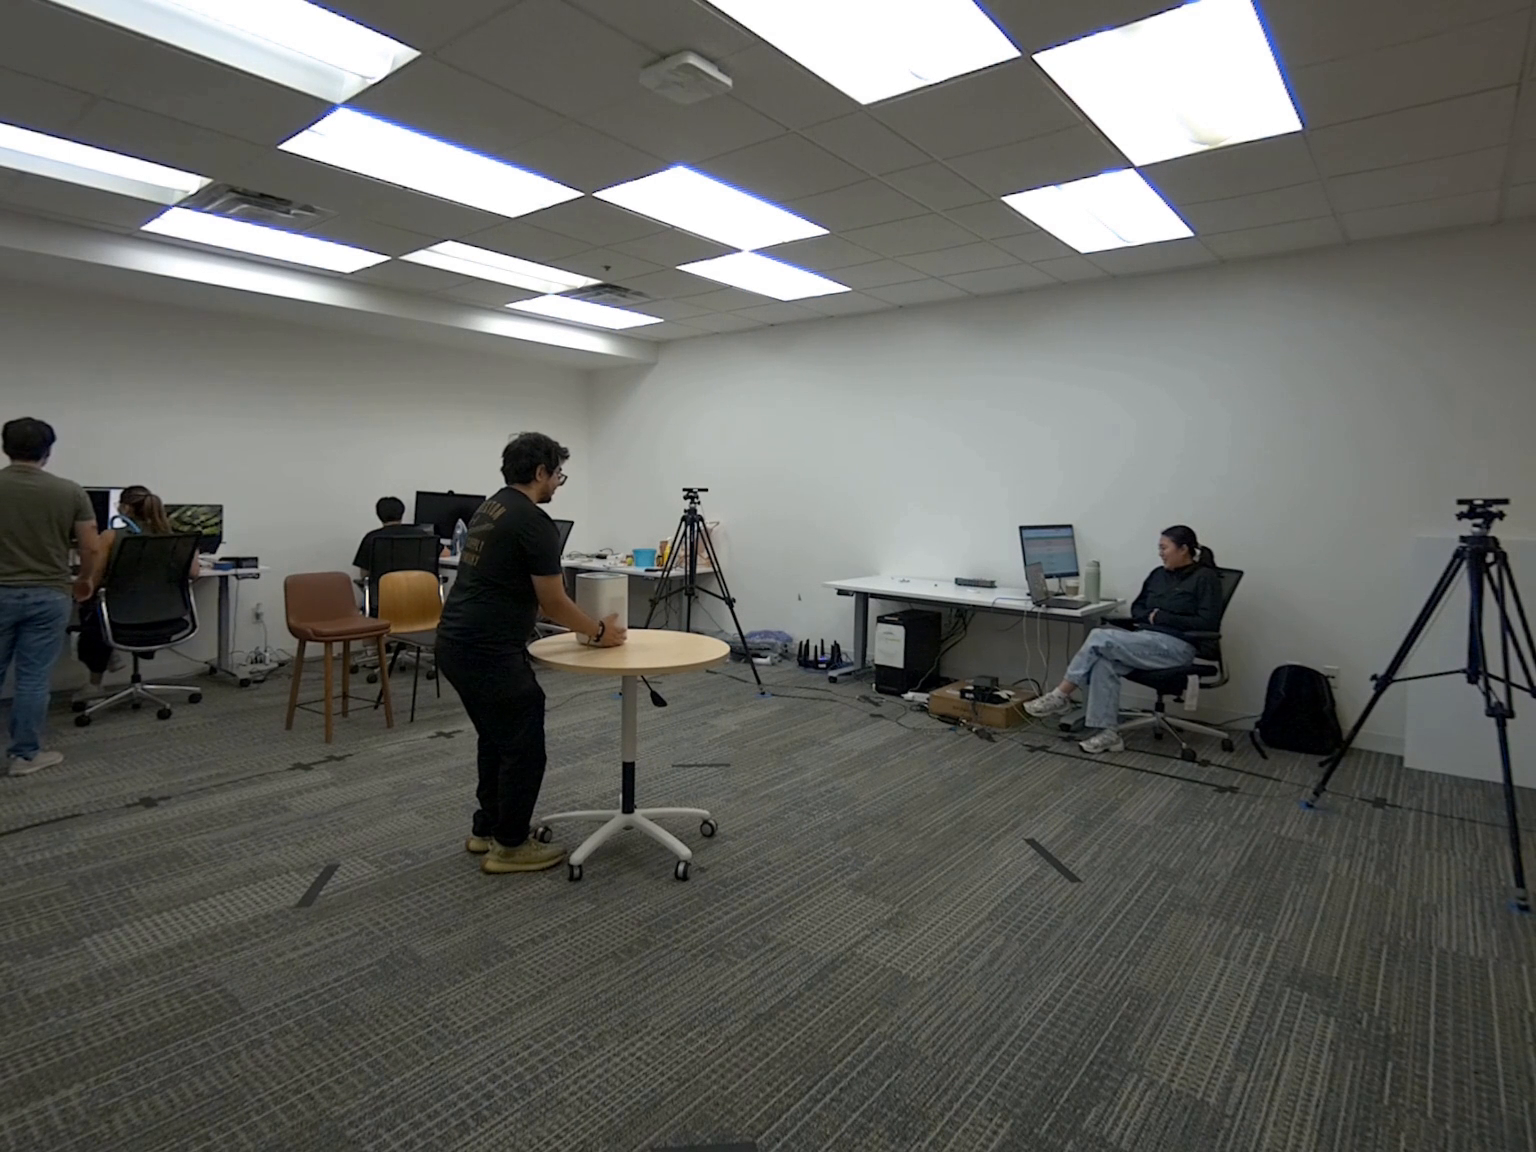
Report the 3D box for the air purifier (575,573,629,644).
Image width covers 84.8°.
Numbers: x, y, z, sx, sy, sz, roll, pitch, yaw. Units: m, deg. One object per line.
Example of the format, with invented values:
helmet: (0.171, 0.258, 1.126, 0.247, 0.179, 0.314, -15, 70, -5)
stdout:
air purifier: (-0.663, 0.128, 3.299, 0.176, 0.264, 0.167, 4, 4, 35)
